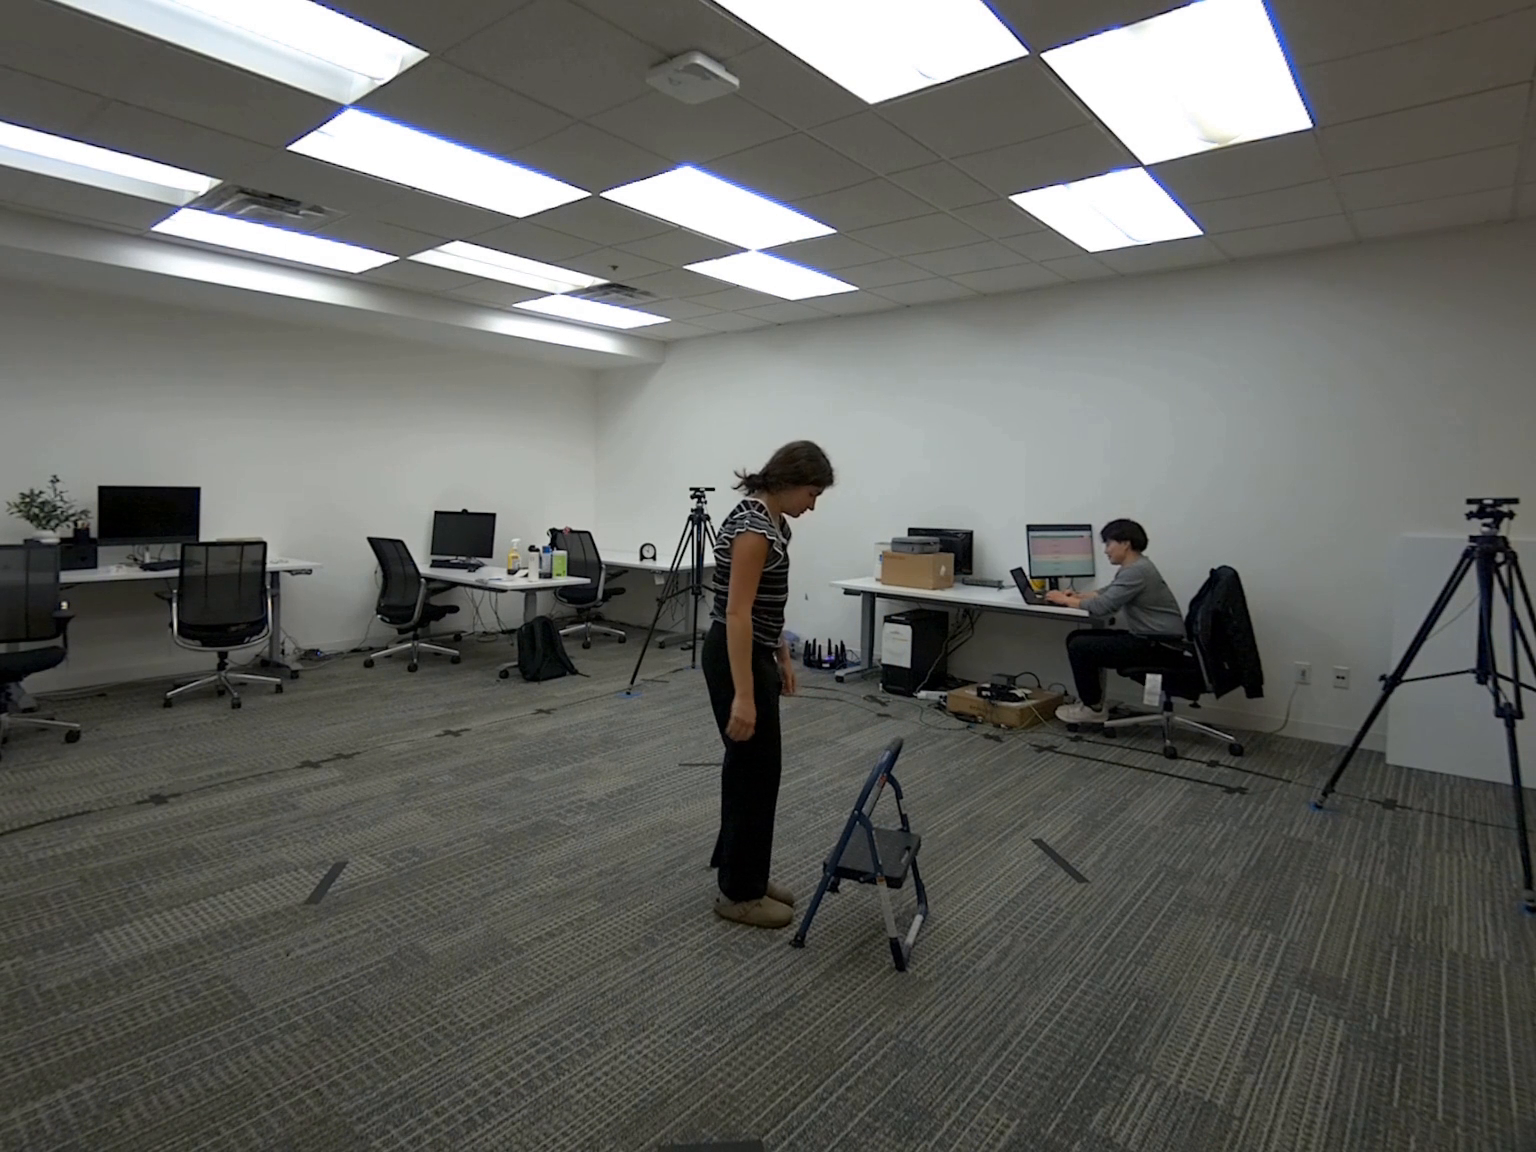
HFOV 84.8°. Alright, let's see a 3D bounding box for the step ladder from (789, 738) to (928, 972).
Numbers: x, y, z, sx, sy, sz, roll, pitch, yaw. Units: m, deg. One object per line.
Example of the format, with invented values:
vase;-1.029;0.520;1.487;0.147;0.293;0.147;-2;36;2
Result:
step ladder;0.306;0.819;2.700;0.357;0.604;0.422;3;4;21
